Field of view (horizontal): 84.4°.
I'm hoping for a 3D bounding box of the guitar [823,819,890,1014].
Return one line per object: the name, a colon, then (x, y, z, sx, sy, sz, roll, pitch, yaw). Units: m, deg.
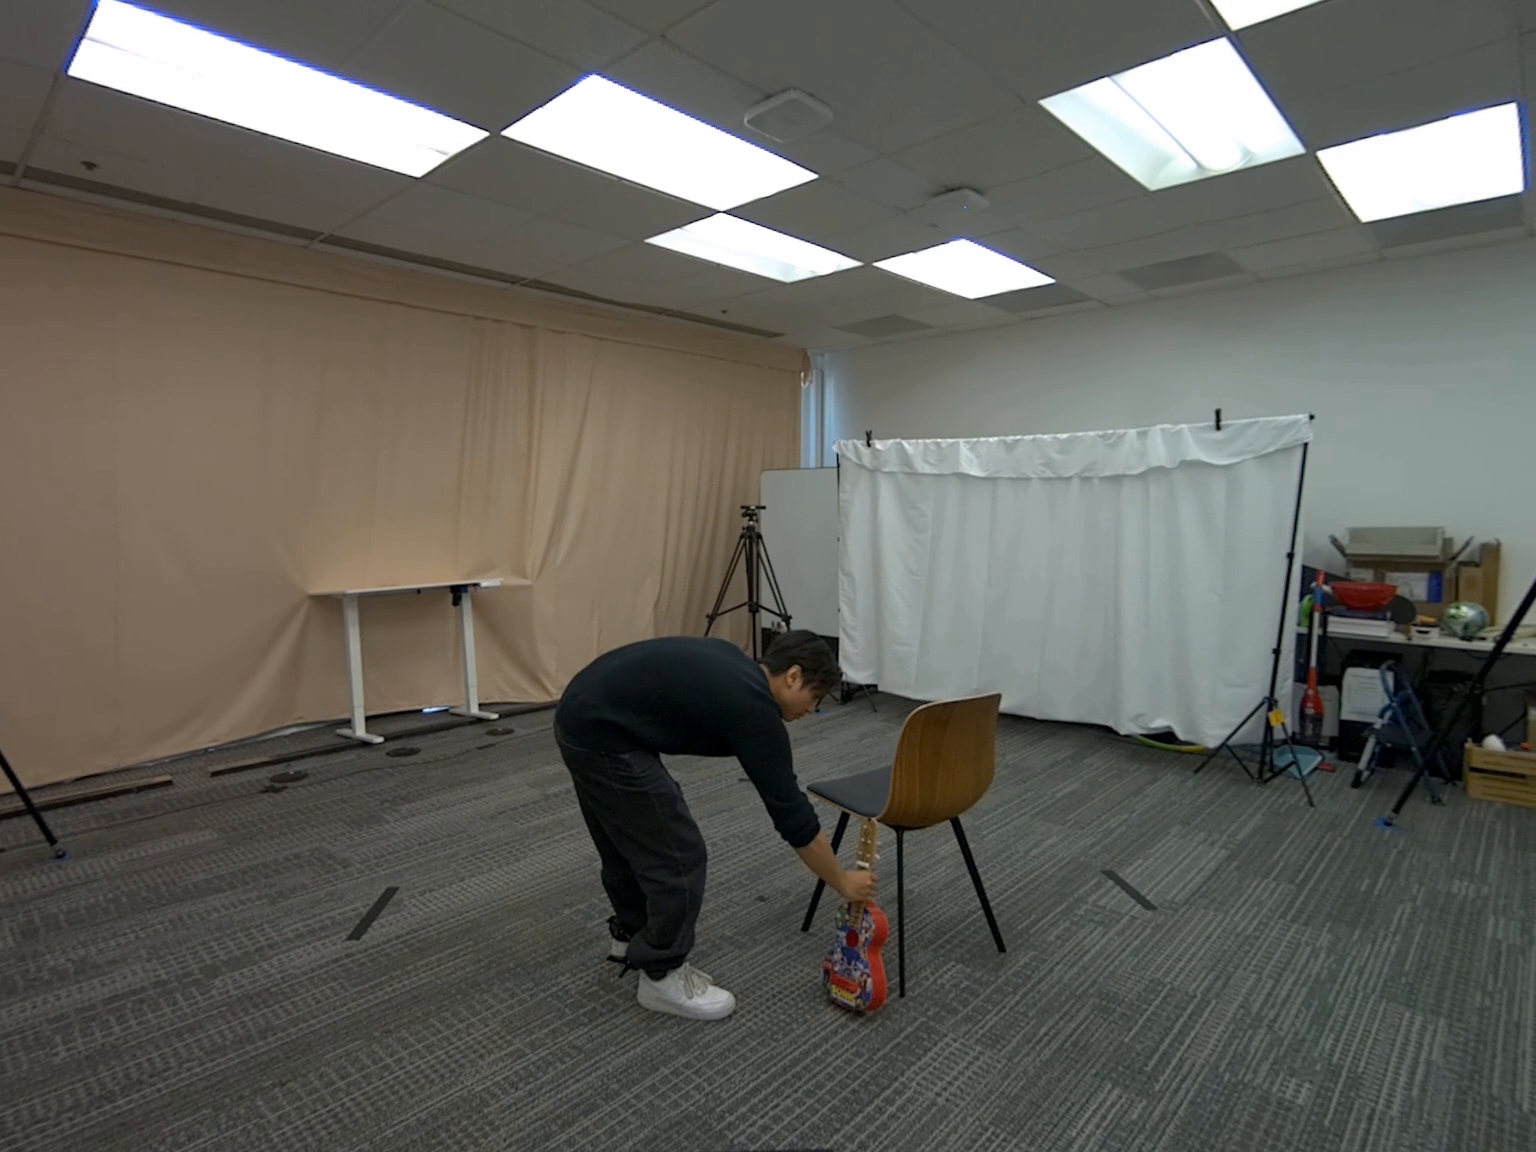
guitar: (0.293, 0.953, 2.351, 0.068, 0.499, 0.199, 21, -8, -38)
